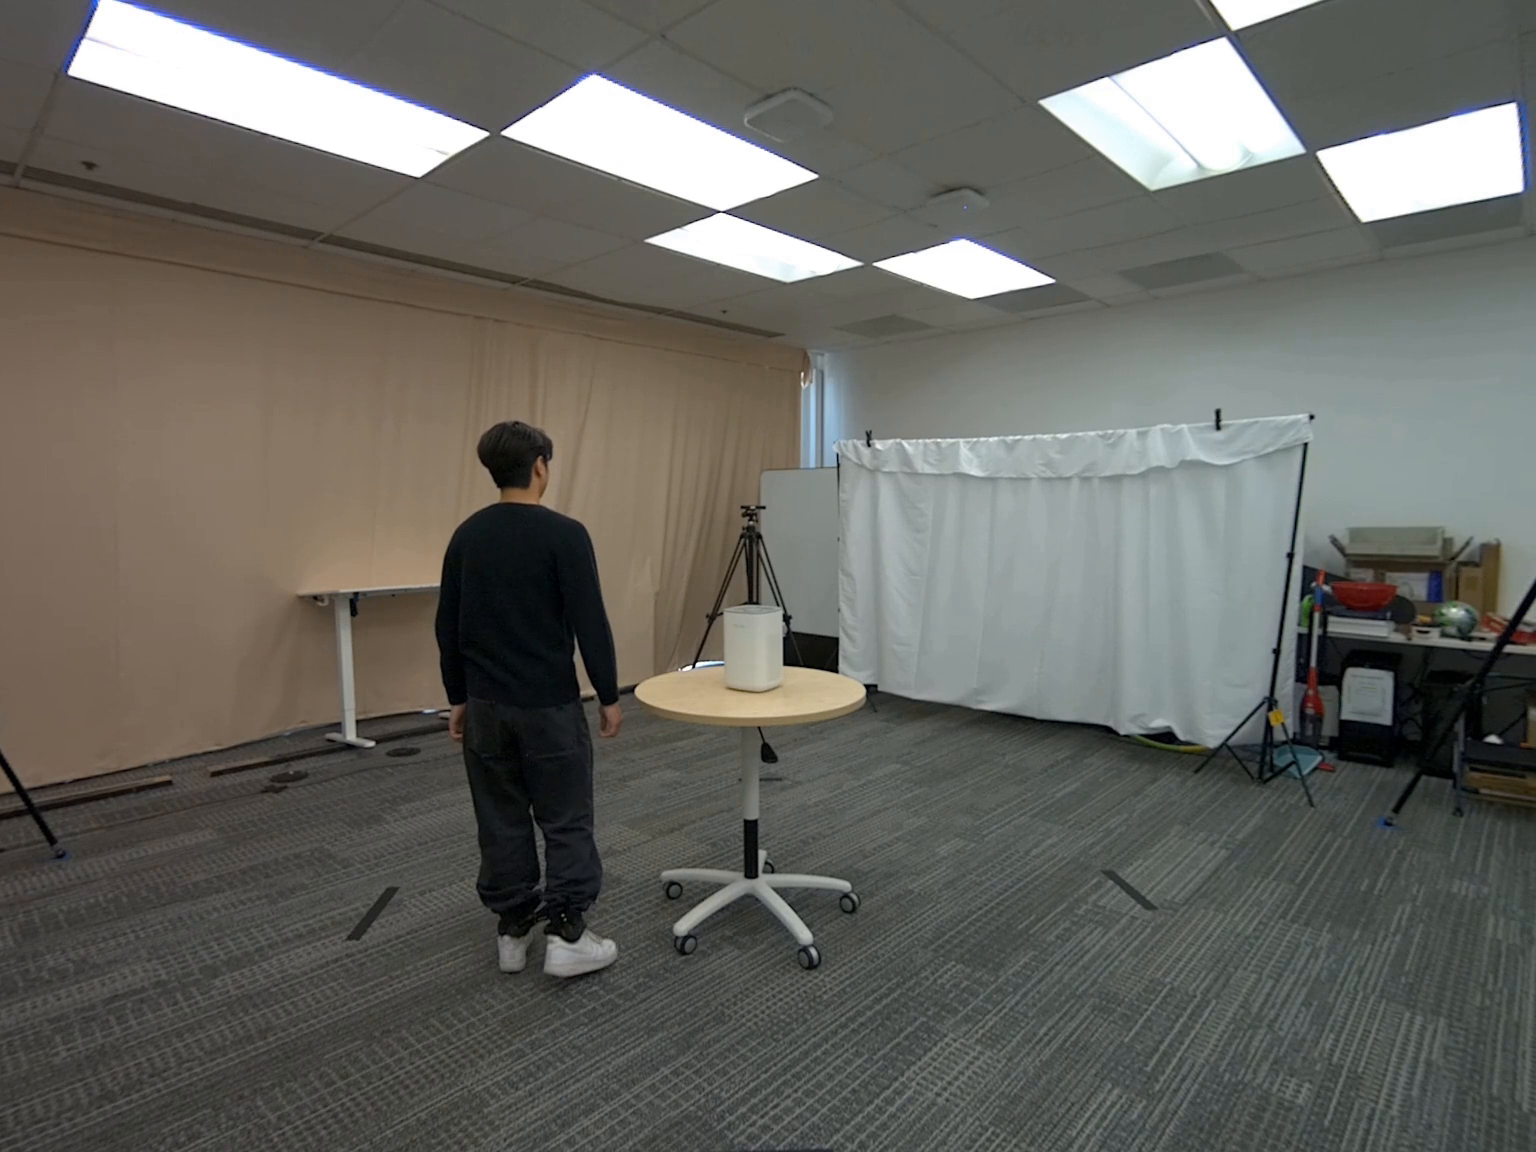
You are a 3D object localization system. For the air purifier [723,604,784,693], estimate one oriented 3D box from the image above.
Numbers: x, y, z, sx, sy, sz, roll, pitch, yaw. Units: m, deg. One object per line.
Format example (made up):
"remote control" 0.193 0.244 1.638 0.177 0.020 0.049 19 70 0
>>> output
"air purifier" -0.045 0.239 2.810 0.176 0.265 0.167 1 4 31
